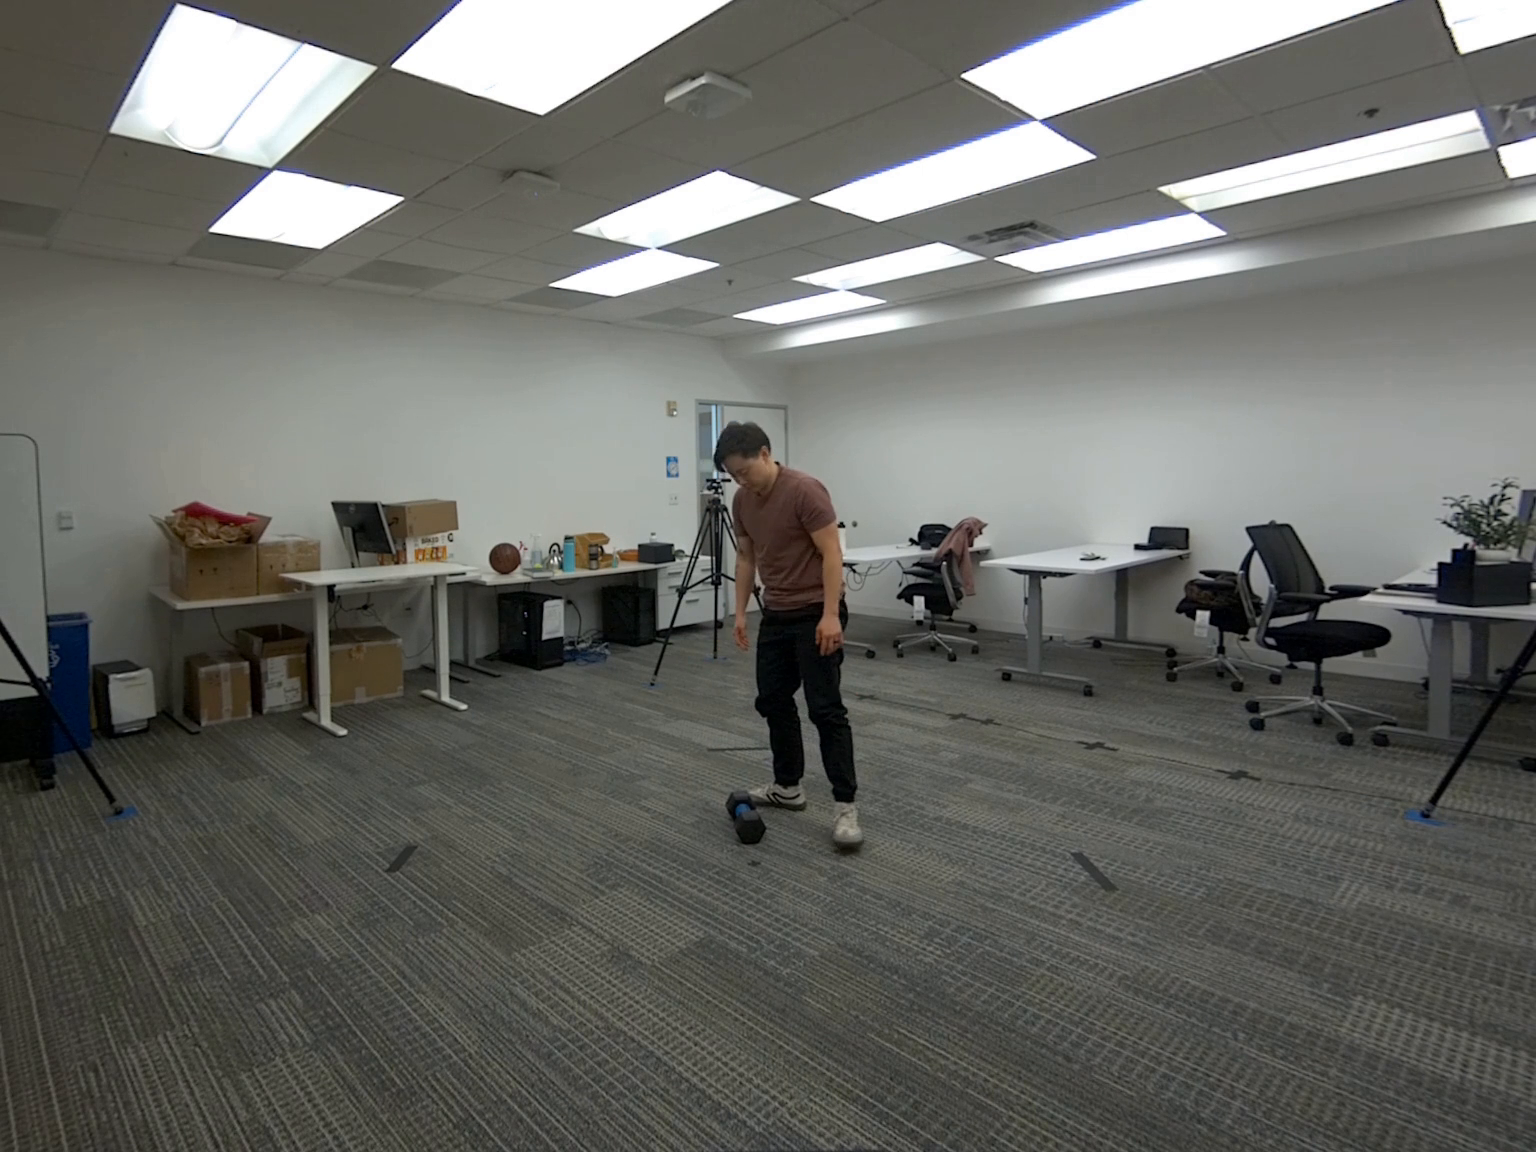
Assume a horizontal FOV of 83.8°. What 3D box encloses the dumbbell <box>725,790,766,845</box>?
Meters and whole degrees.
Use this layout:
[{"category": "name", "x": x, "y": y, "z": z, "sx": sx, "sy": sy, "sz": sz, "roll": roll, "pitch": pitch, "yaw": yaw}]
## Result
[{"category": "dumbbell", "x": -0.088, "y": 0.959, "z": 3.405, "sx": 0.108, "sy": 0.121, "sz": 0.298, "roll": -32, "pitch": 11, "yaw": -6}]
